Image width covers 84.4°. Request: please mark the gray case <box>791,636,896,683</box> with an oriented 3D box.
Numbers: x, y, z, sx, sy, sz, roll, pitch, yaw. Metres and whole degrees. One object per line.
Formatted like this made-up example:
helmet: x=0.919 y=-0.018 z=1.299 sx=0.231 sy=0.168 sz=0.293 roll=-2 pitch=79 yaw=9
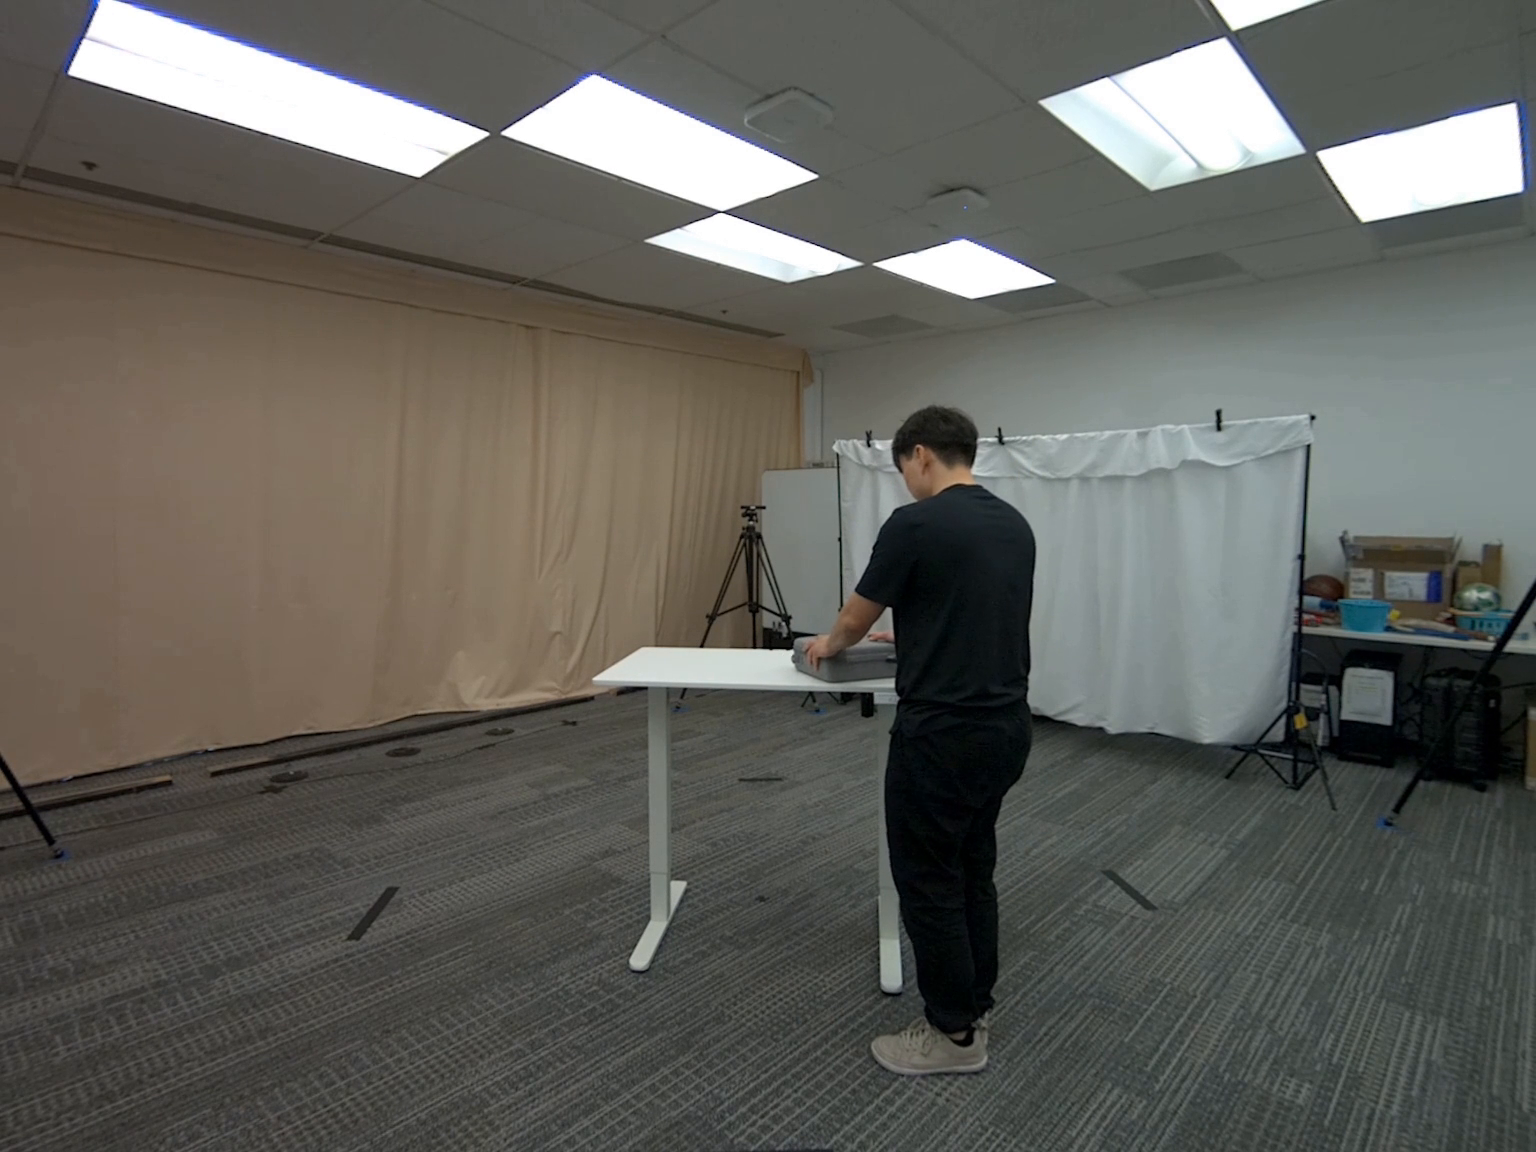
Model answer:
gray case: x=0.225 y=0.246 z=2.553 sx=0.253 sy=0.104 sz=0.265 roll=-3 pitch=6 yaw=-14
